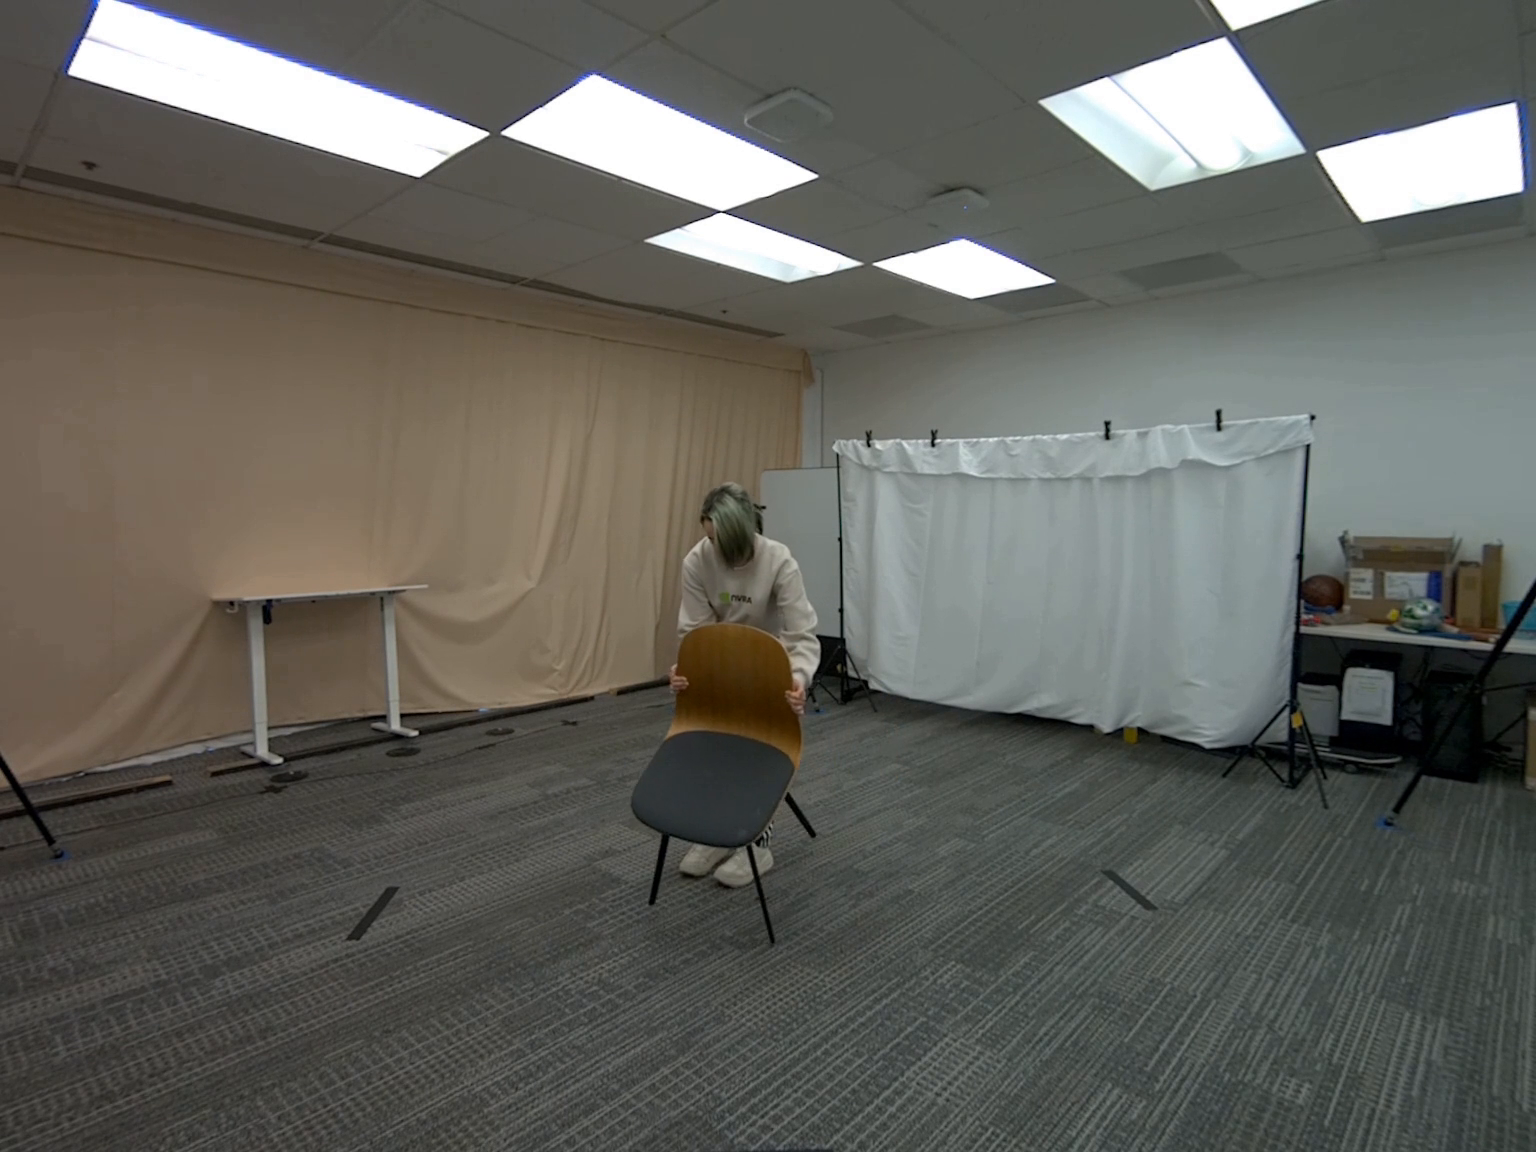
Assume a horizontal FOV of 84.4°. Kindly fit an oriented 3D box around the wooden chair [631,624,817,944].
[{"bbox_3d":[-0.152,0.662,2.710,0.490,0.863,0.519,8,29,21],"label":"wooden chair"}]
